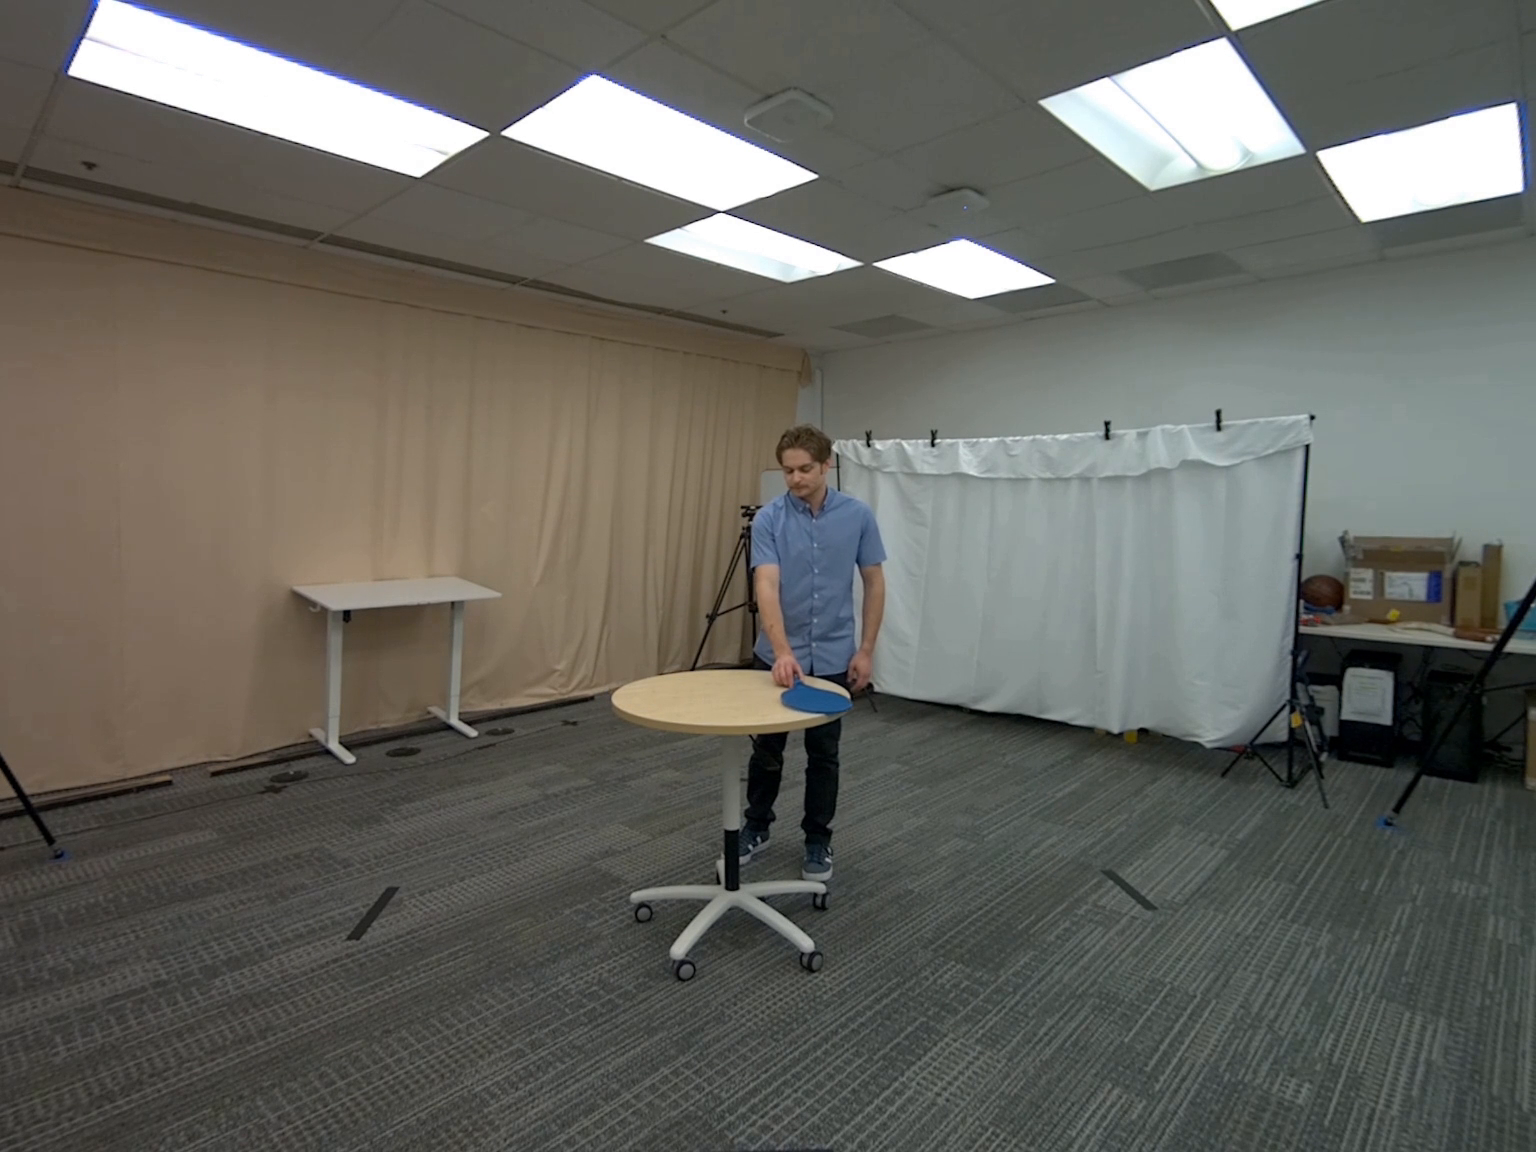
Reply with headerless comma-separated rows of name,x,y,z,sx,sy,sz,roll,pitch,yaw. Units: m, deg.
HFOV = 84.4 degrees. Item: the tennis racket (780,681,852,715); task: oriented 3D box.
tennis racket,0.129,0.376,2.666,0.211,0.031,0.440,0,7,-13
